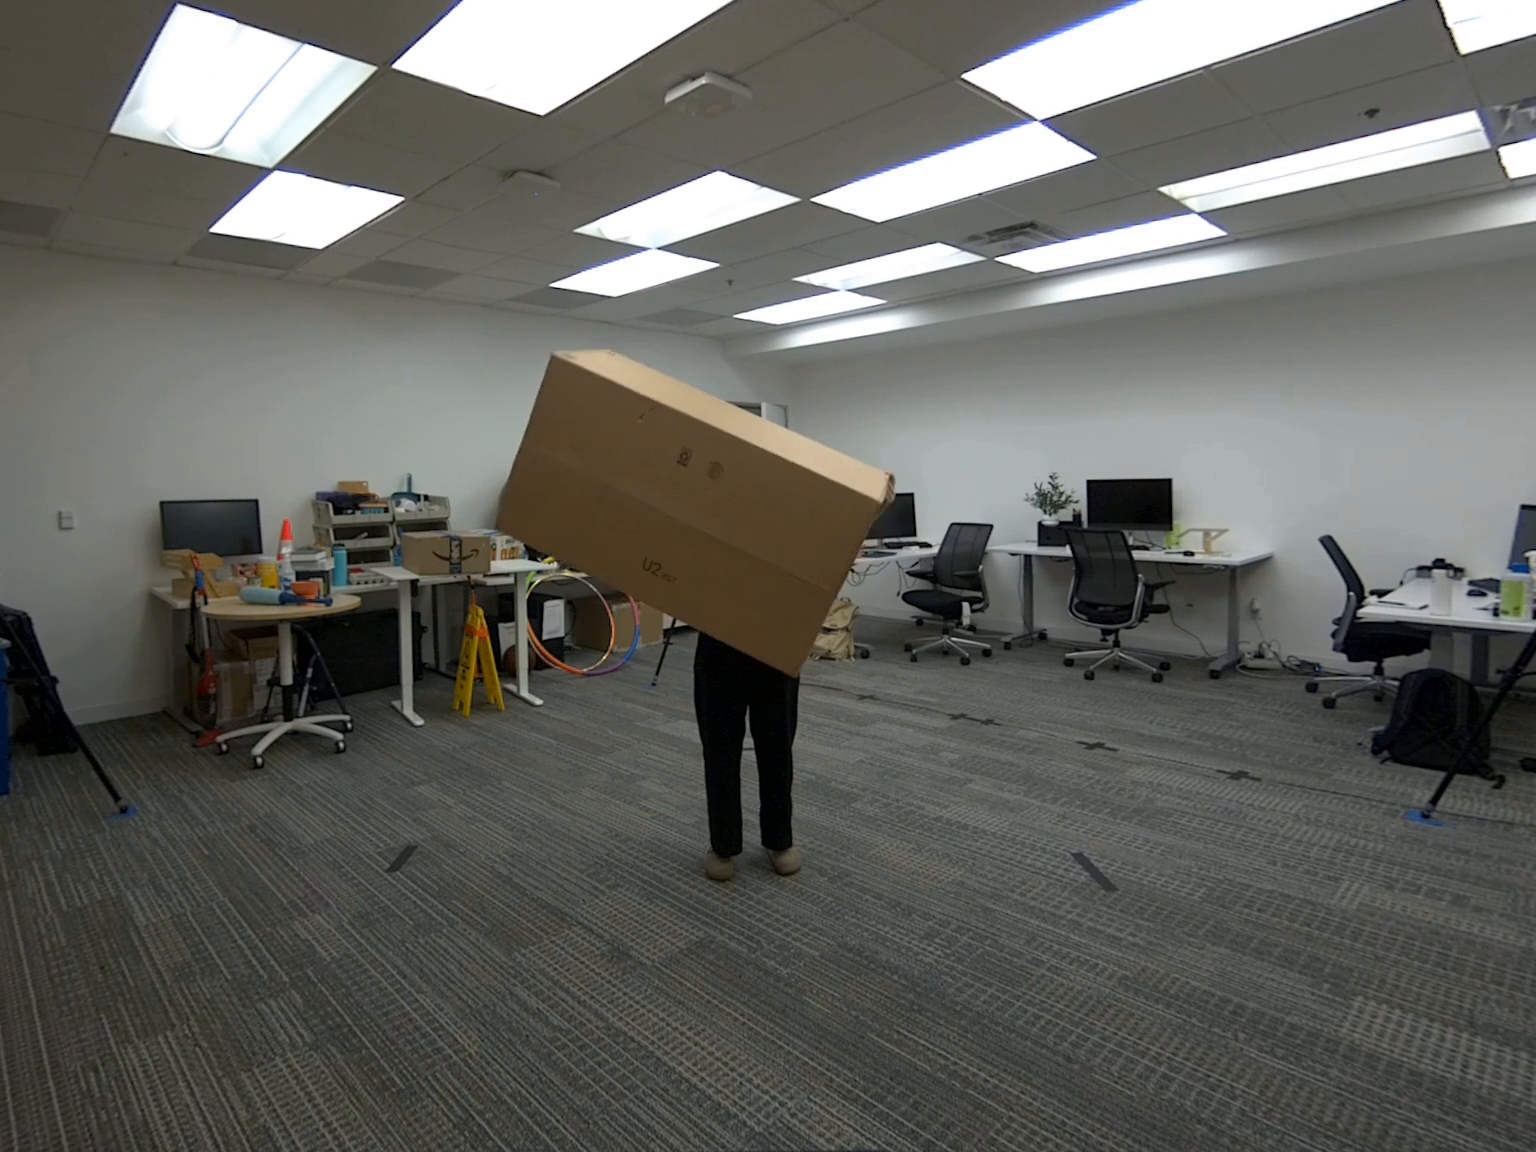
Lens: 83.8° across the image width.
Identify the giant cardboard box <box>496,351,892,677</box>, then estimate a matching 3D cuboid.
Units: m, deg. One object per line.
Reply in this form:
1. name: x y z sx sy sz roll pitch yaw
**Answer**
1. giant cardboard box: -0.215 -0.226 2.629 1.036 0.573 0.425 25 18 8
